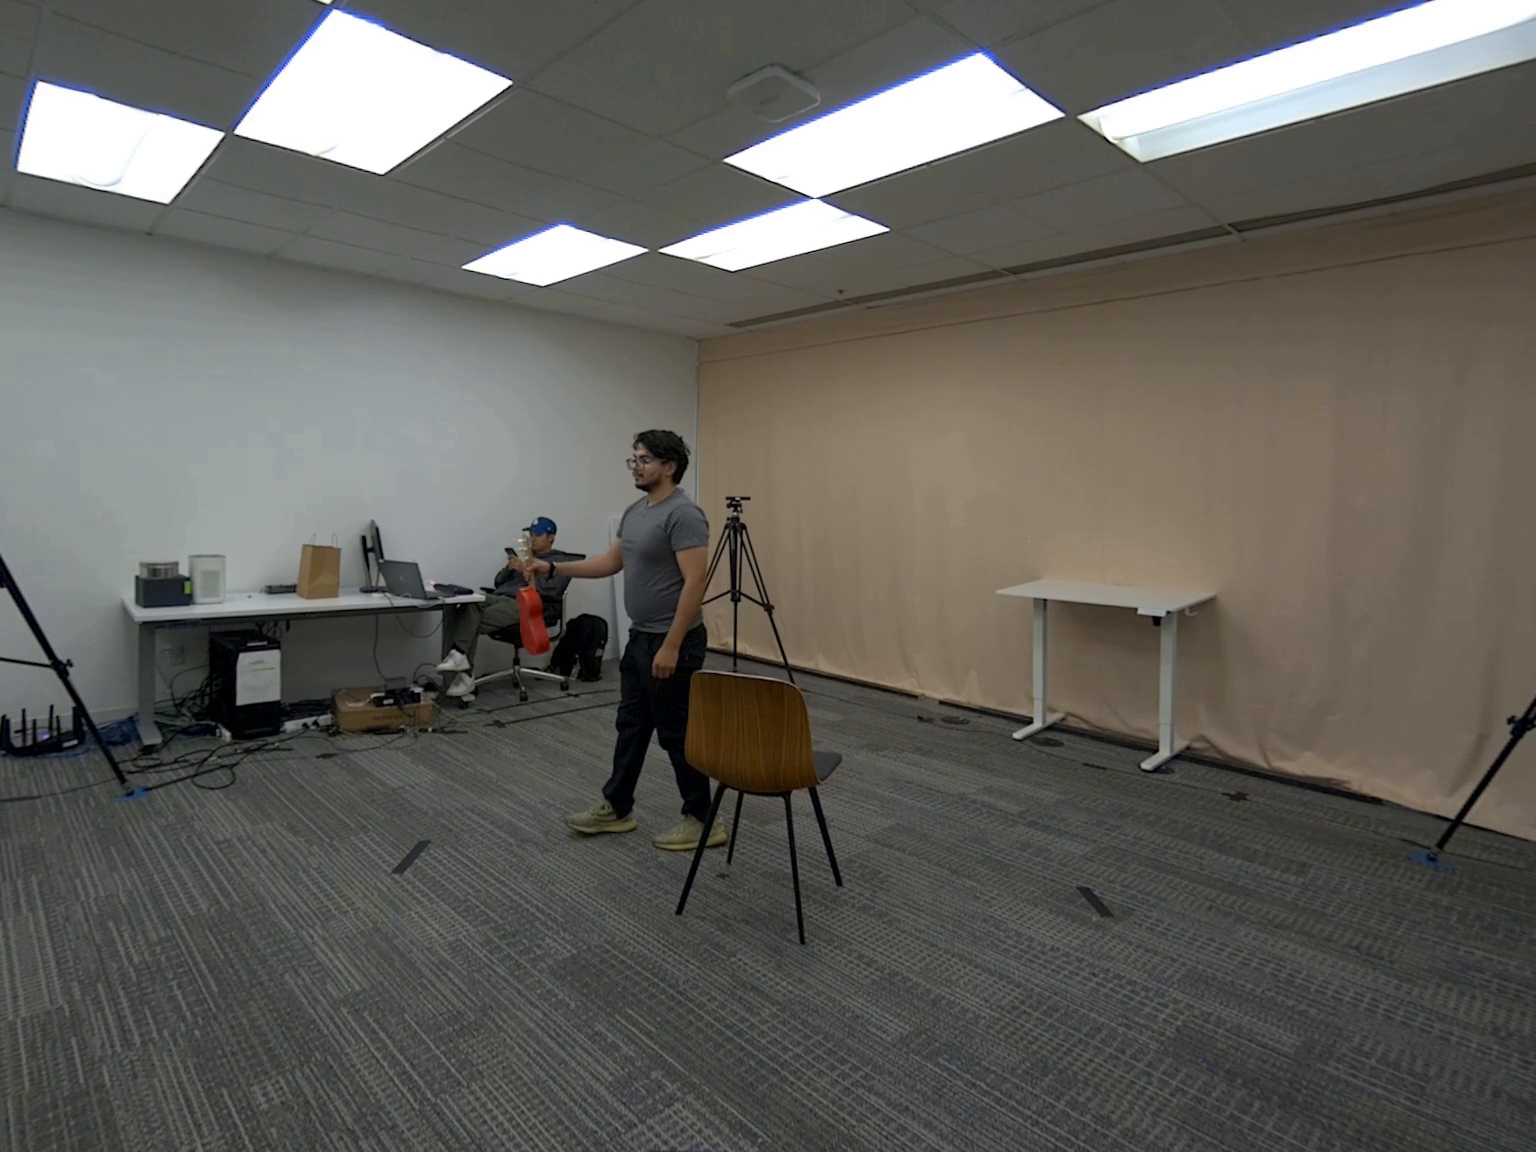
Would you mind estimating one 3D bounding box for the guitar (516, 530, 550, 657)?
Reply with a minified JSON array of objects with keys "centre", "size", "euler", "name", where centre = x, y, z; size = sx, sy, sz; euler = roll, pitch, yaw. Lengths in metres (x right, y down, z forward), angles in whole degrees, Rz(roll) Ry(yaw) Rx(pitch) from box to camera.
[{"centre":[-0.995,0.068,3.467],"size":[0.069,0.497,0.196],"euler":[-11,3,-30],"name":"guitar"}]
